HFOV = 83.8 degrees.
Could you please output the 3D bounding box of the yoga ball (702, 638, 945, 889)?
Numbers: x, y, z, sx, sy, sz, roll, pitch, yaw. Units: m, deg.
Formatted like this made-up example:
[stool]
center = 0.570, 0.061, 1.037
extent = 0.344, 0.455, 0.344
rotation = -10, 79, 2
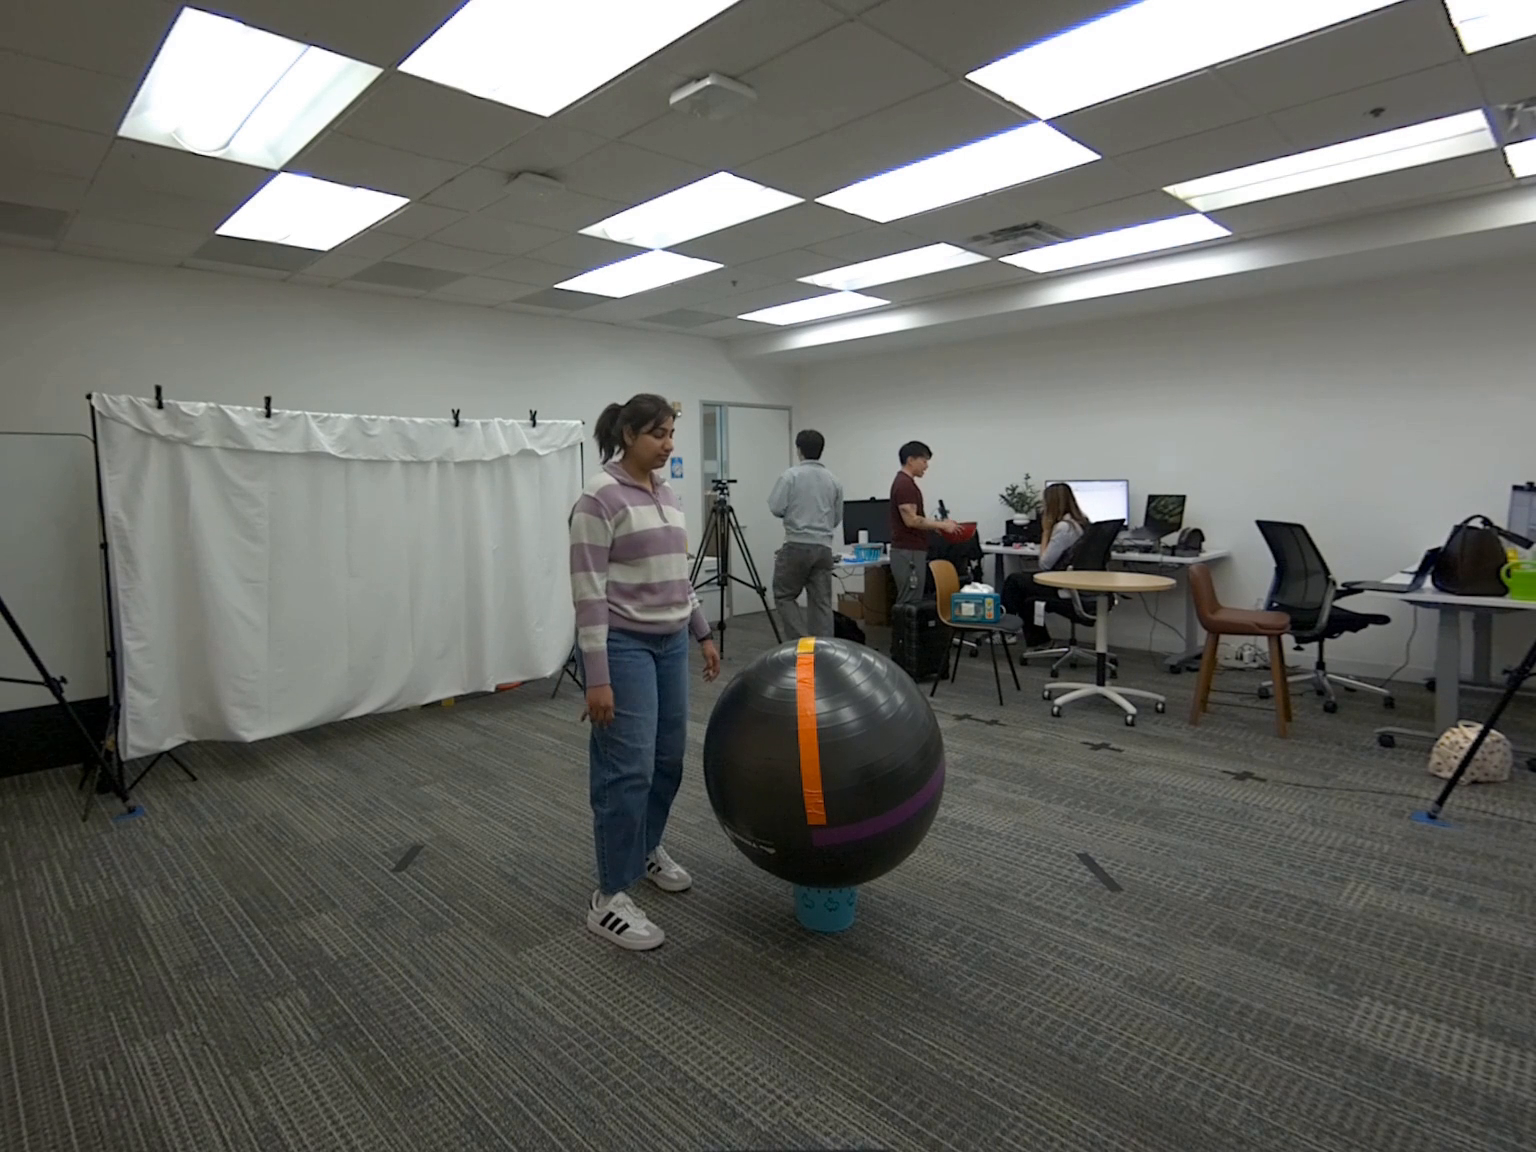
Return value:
[yoga ball]
center = 0.175, 0.582, 2.676
extent = 0.757, 0.755, 0.762
rotation = -1, 5, -2
